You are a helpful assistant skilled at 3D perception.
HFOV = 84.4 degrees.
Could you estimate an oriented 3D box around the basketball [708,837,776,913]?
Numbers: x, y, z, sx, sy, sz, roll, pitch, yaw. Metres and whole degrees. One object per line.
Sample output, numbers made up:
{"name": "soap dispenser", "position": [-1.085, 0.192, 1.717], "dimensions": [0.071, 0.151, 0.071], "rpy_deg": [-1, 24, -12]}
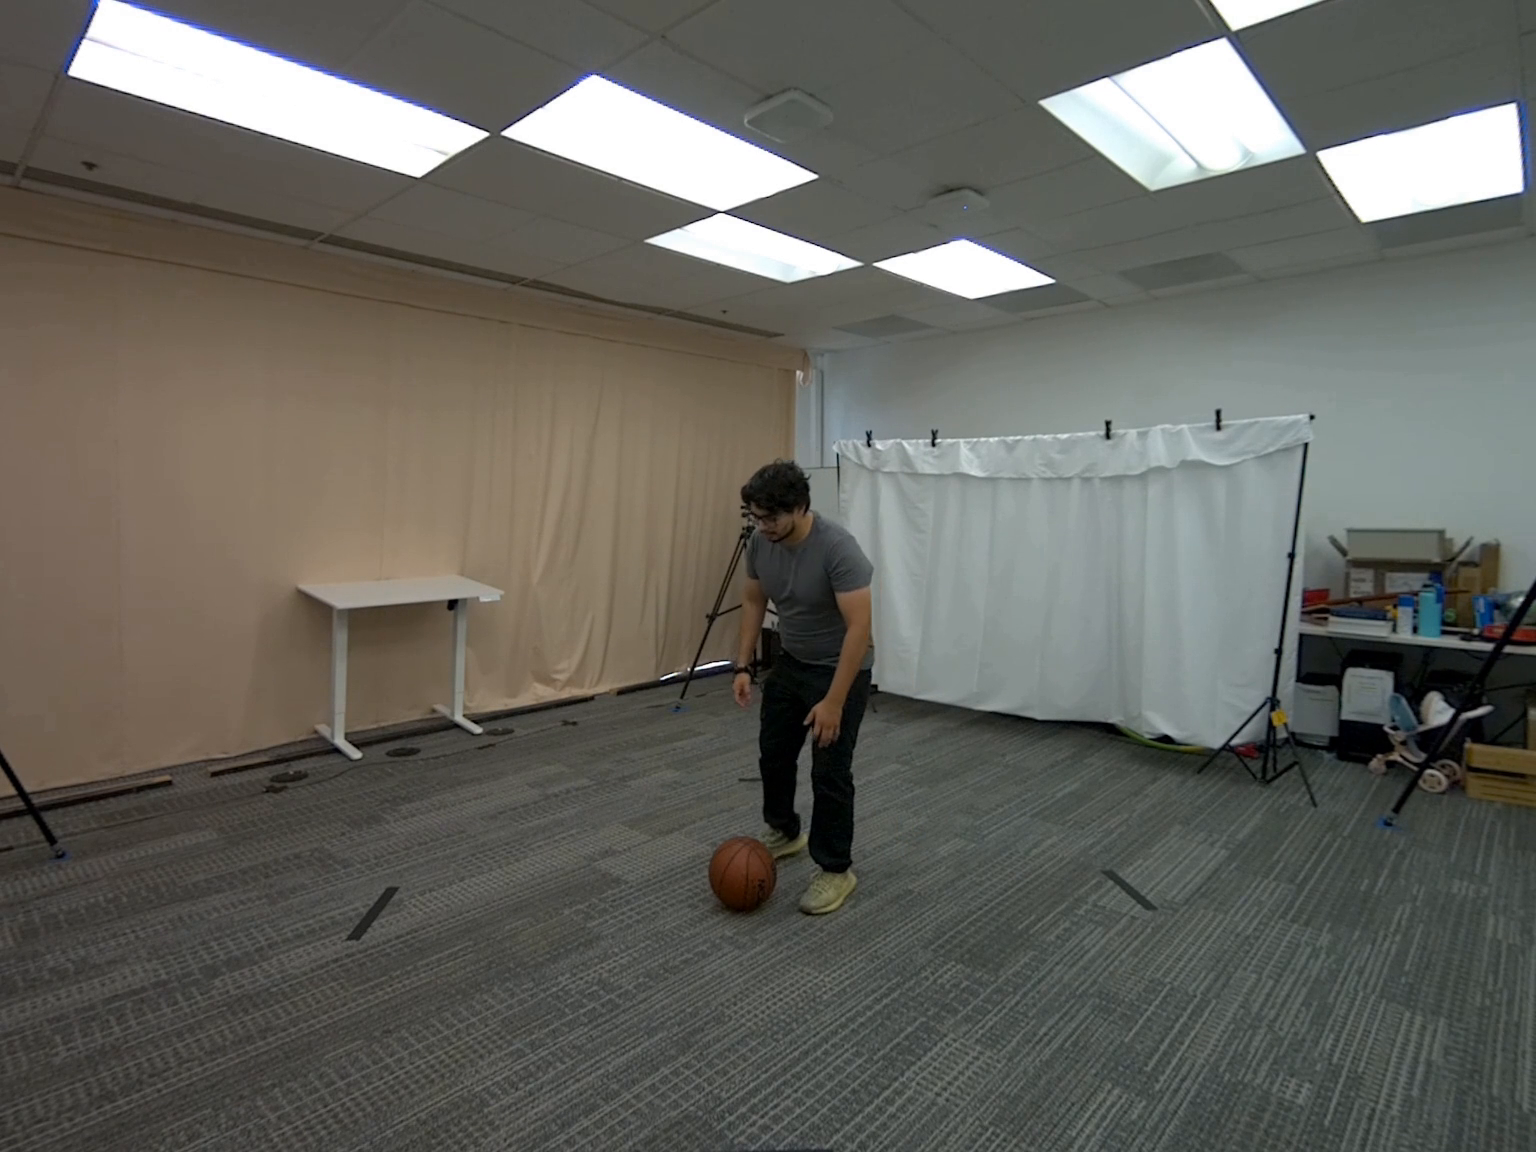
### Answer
{"name": "basketball", "position": [-0.084, 1.025, 2.925], "dimensions": [0.236, 0.235, 0.237], "rpy_deg": [0, 4, -2]}
